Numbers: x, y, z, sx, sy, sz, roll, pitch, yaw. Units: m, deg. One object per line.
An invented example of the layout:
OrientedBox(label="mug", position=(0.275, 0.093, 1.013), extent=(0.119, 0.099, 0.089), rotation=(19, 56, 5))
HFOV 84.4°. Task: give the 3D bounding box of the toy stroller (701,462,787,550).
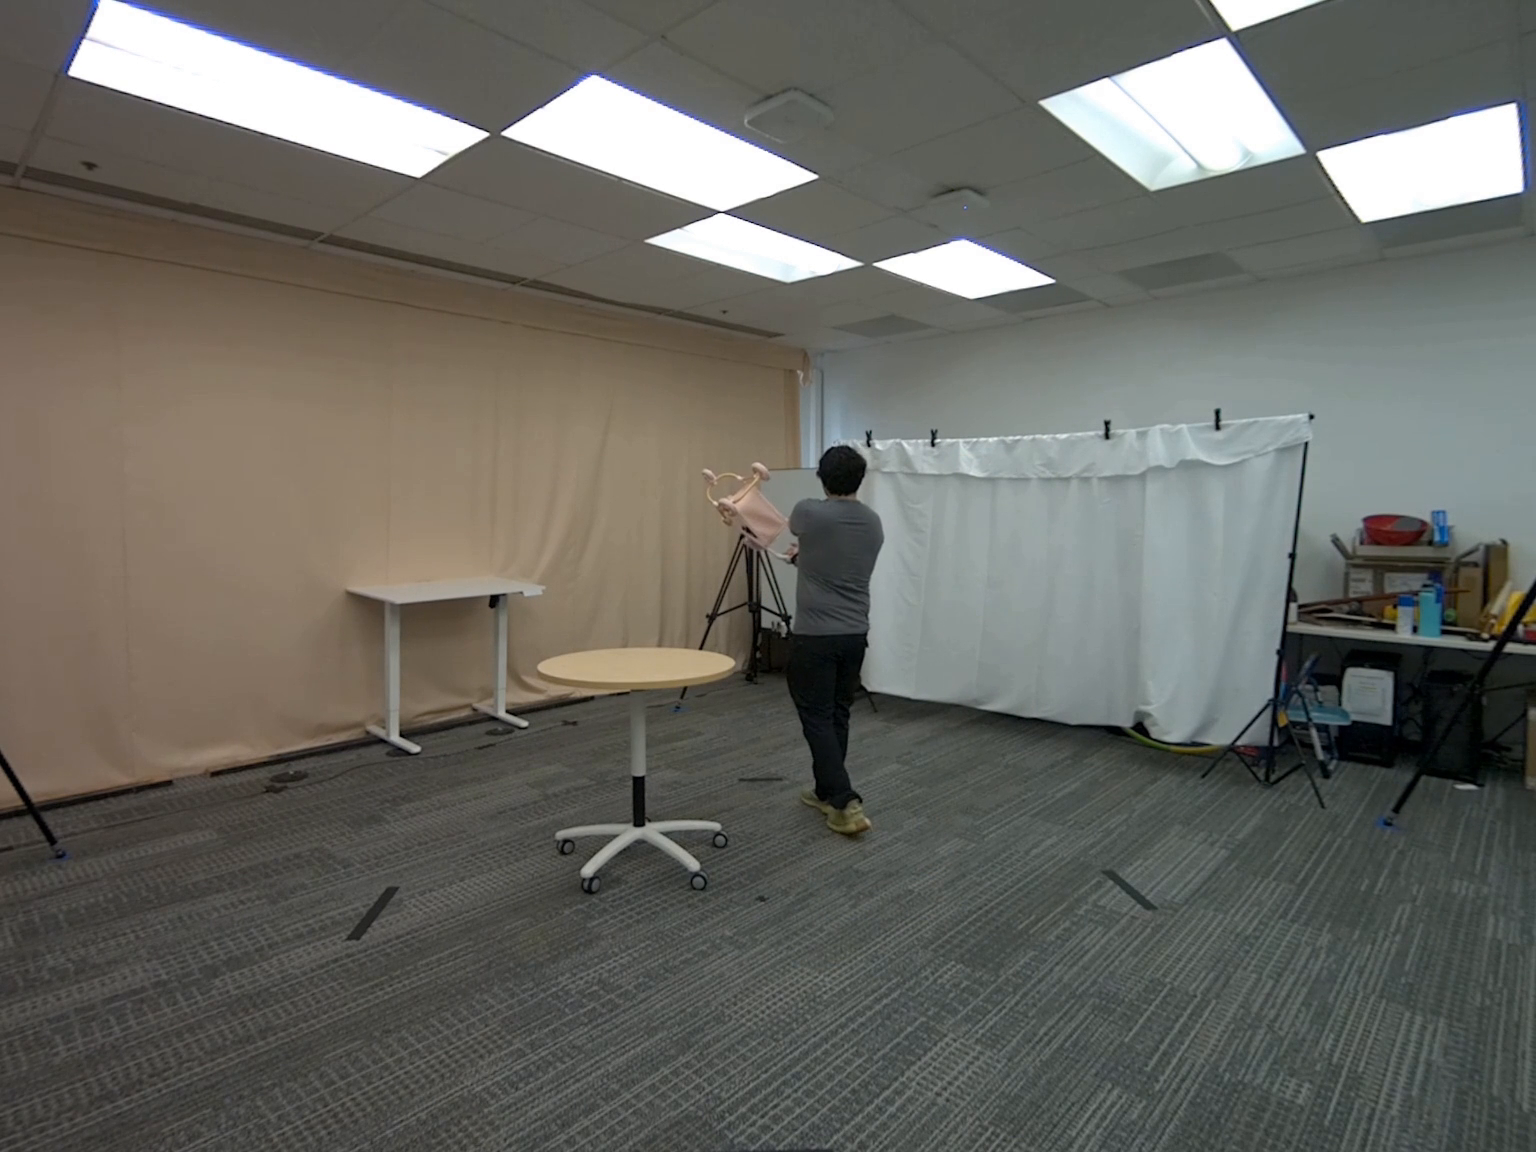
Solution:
OrientedBox(label="toy stroller", position=(-0.095, -0.318, 4.153), extent=(0.352, 0.280, 0.520), rotation=(6, -38, 53))
